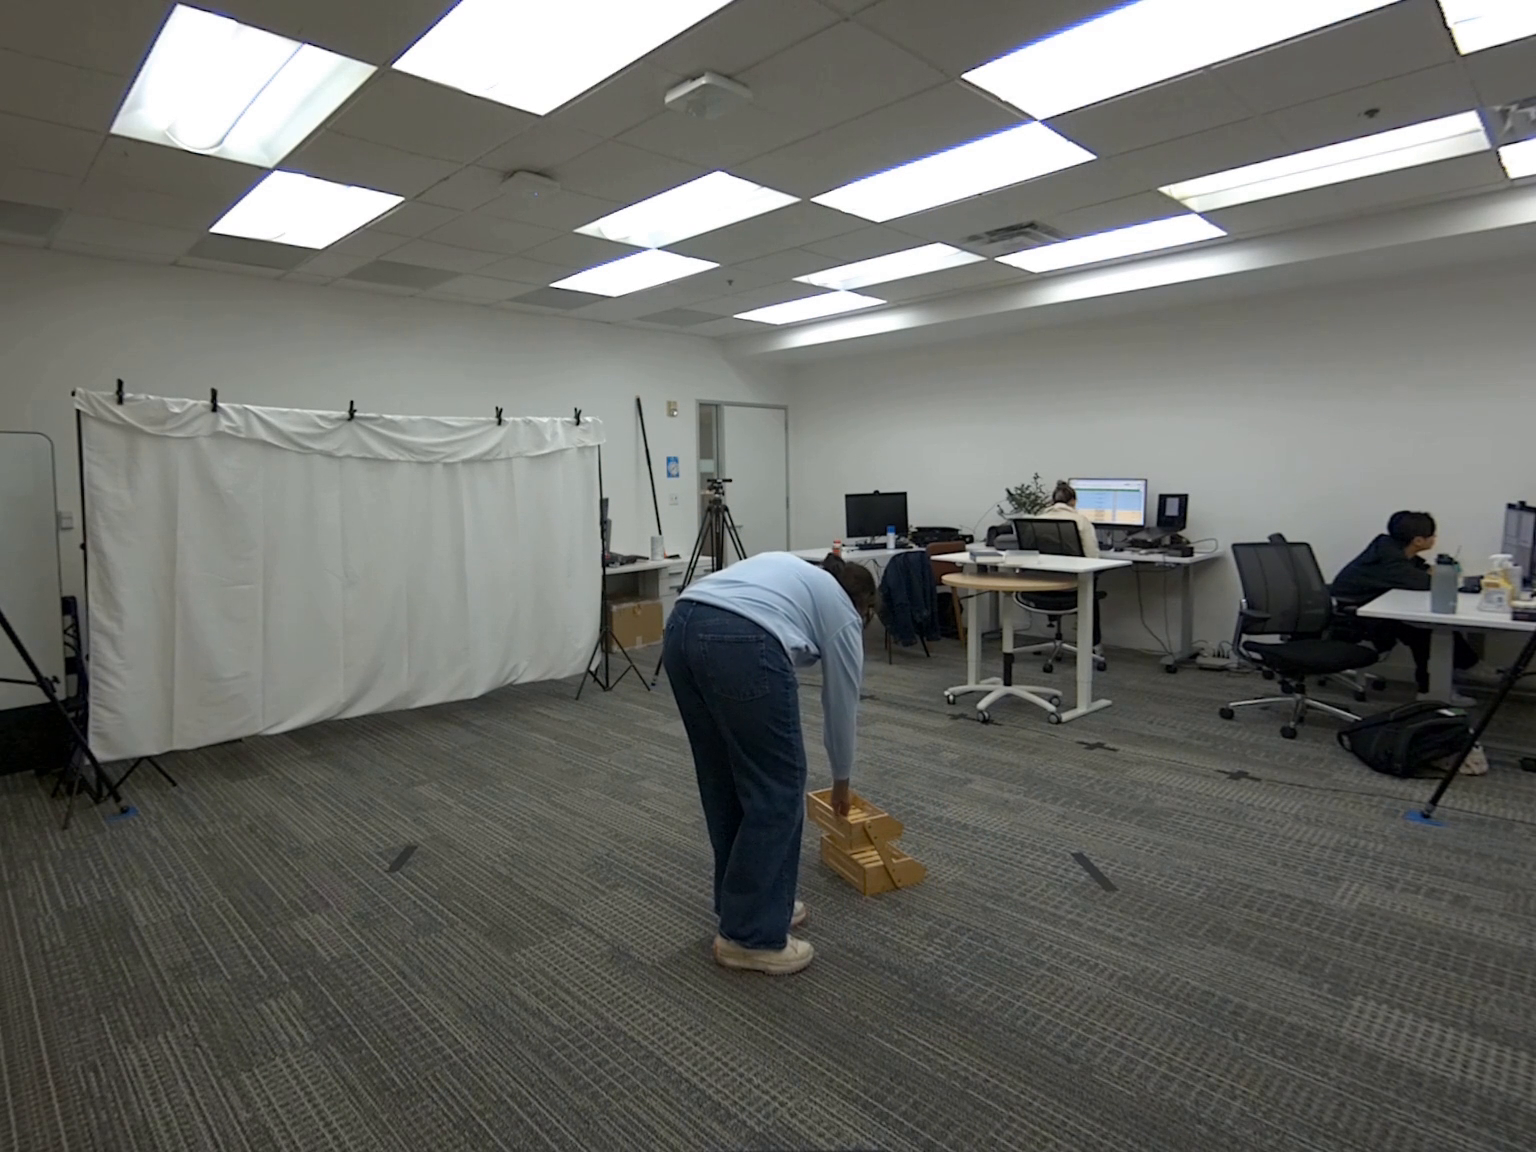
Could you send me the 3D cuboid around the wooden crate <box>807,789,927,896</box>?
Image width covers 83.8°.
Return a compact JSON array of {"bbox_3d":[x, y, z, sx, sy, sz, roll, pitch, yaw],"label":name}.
[{"bbox_3d":[0.351,0.913,3.019,0.296,0.272,0.333,-4,6,-25],"label":"wooden crate"}]
